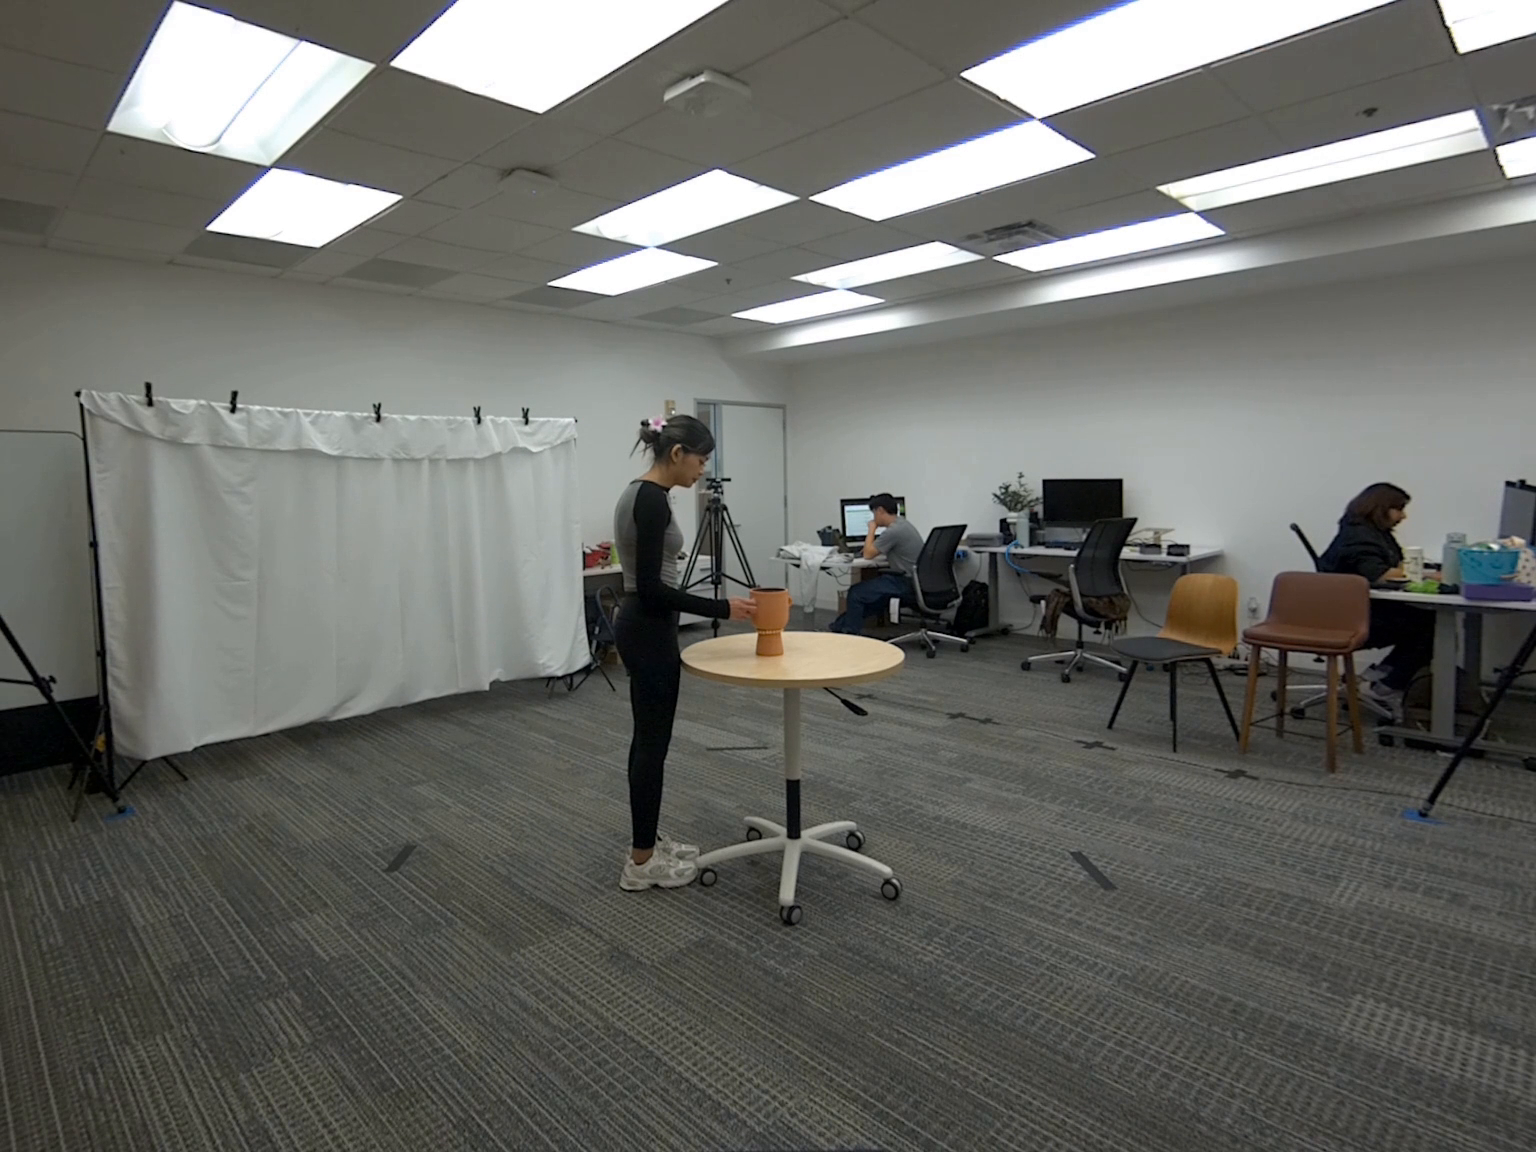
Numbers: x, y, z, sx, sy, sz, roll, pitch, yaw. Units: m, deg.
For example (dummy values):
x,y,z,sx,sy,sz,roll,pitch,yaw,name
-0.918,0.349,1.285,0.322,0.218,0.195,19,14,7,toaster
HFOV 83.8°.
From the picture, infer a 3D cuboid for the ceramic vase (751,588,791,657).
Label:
x,y,z,sx,sy,sz,roll,pitch,yaw,name
0.003,0.155,2.933,0.159,0.219,0.135,0,5,3,ceramic vase
